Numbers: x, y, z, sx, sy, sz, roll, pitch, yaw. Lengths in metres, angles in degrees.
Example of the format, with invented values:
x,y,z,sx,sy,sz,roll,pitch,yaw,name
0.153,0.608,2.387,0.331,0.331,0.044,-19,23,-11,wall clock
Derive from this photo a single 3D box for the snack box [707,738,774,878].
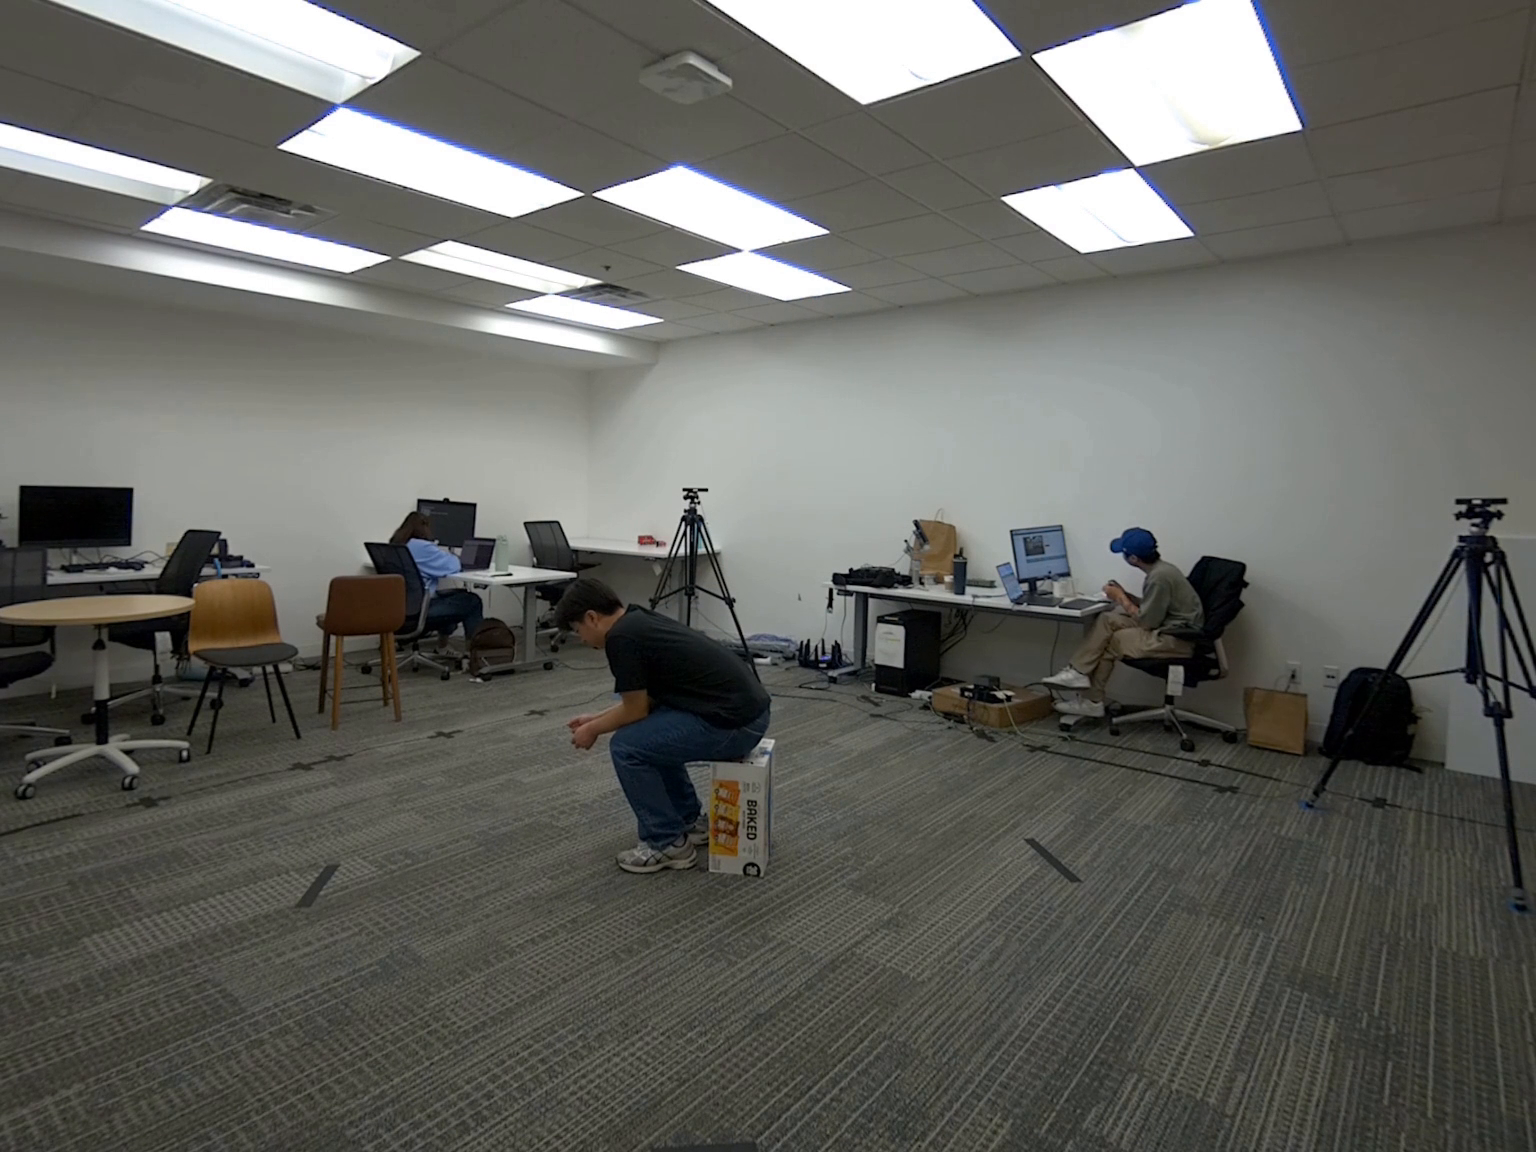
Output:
x,y,z,sx,sy,sz,roll,pitch,yaw,name
-0.103,0.860,3.224,0.208,0.404,0.338,1,4,8,snack box
